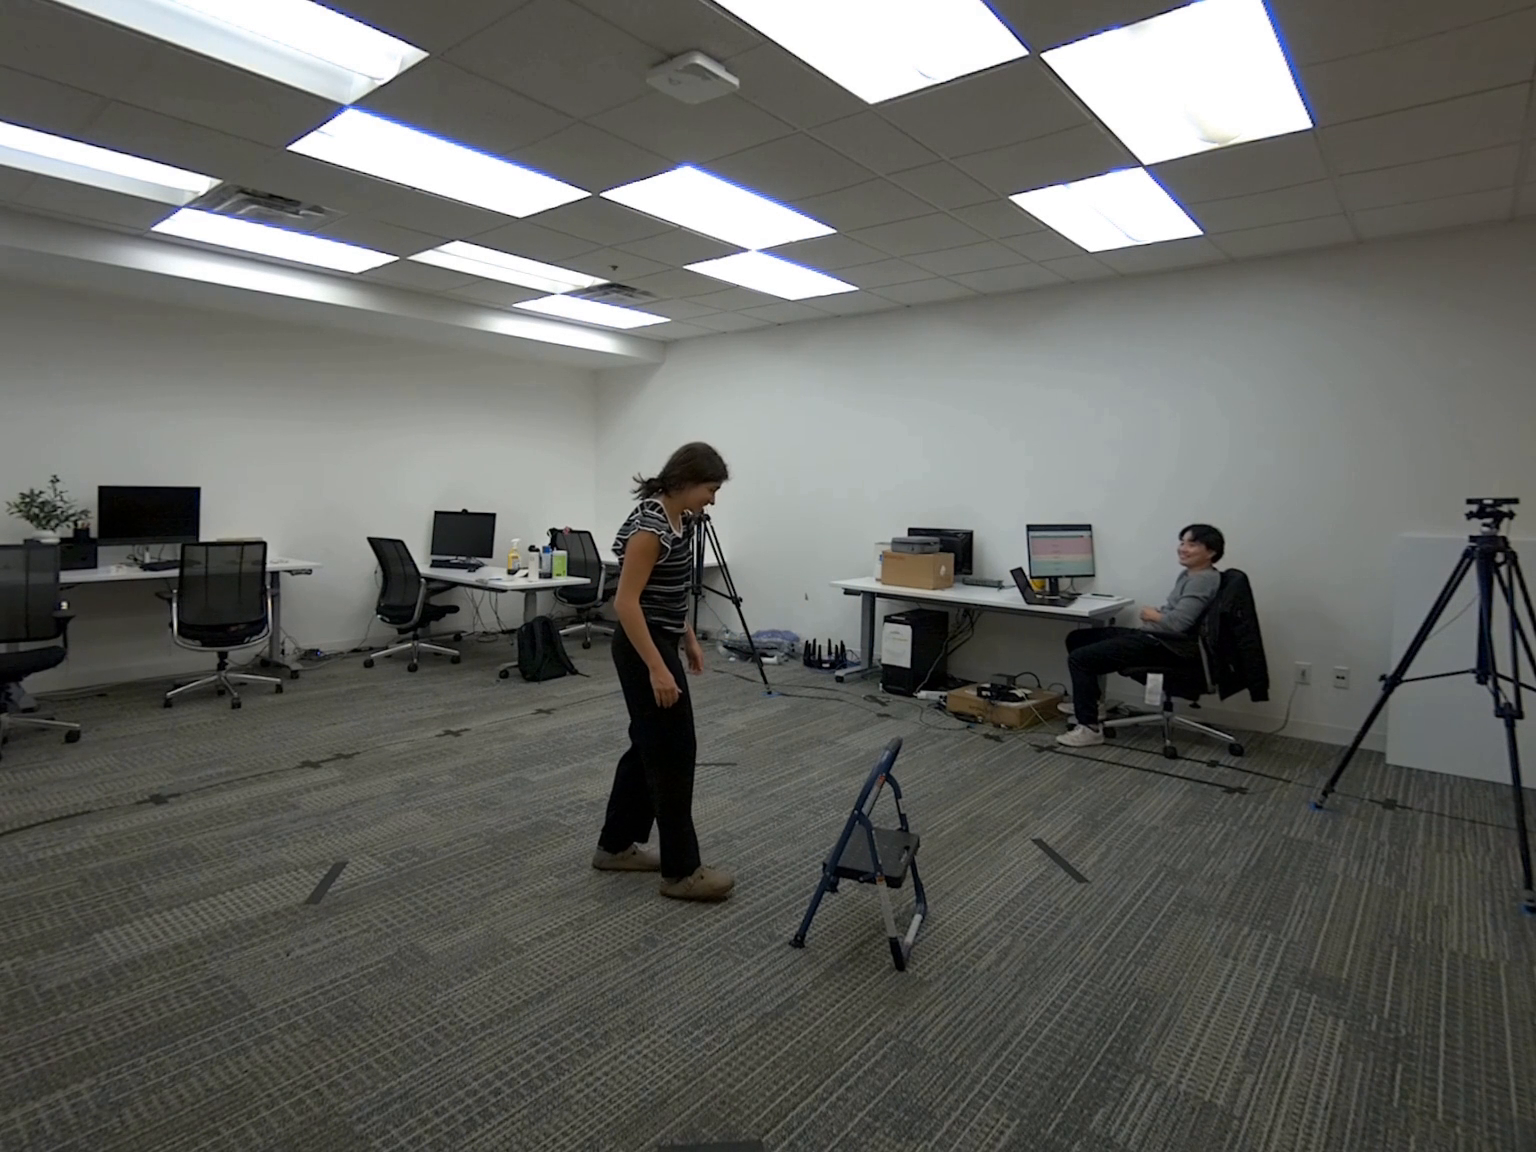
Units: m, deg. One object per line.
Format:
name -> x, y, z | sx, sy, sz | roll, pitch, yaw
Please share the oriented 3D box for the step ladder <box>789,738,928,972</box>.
step ladder -> 0.301, 0.816, 2.702 | 0.357, 0.604, 0.422 | 3, 4, 21
